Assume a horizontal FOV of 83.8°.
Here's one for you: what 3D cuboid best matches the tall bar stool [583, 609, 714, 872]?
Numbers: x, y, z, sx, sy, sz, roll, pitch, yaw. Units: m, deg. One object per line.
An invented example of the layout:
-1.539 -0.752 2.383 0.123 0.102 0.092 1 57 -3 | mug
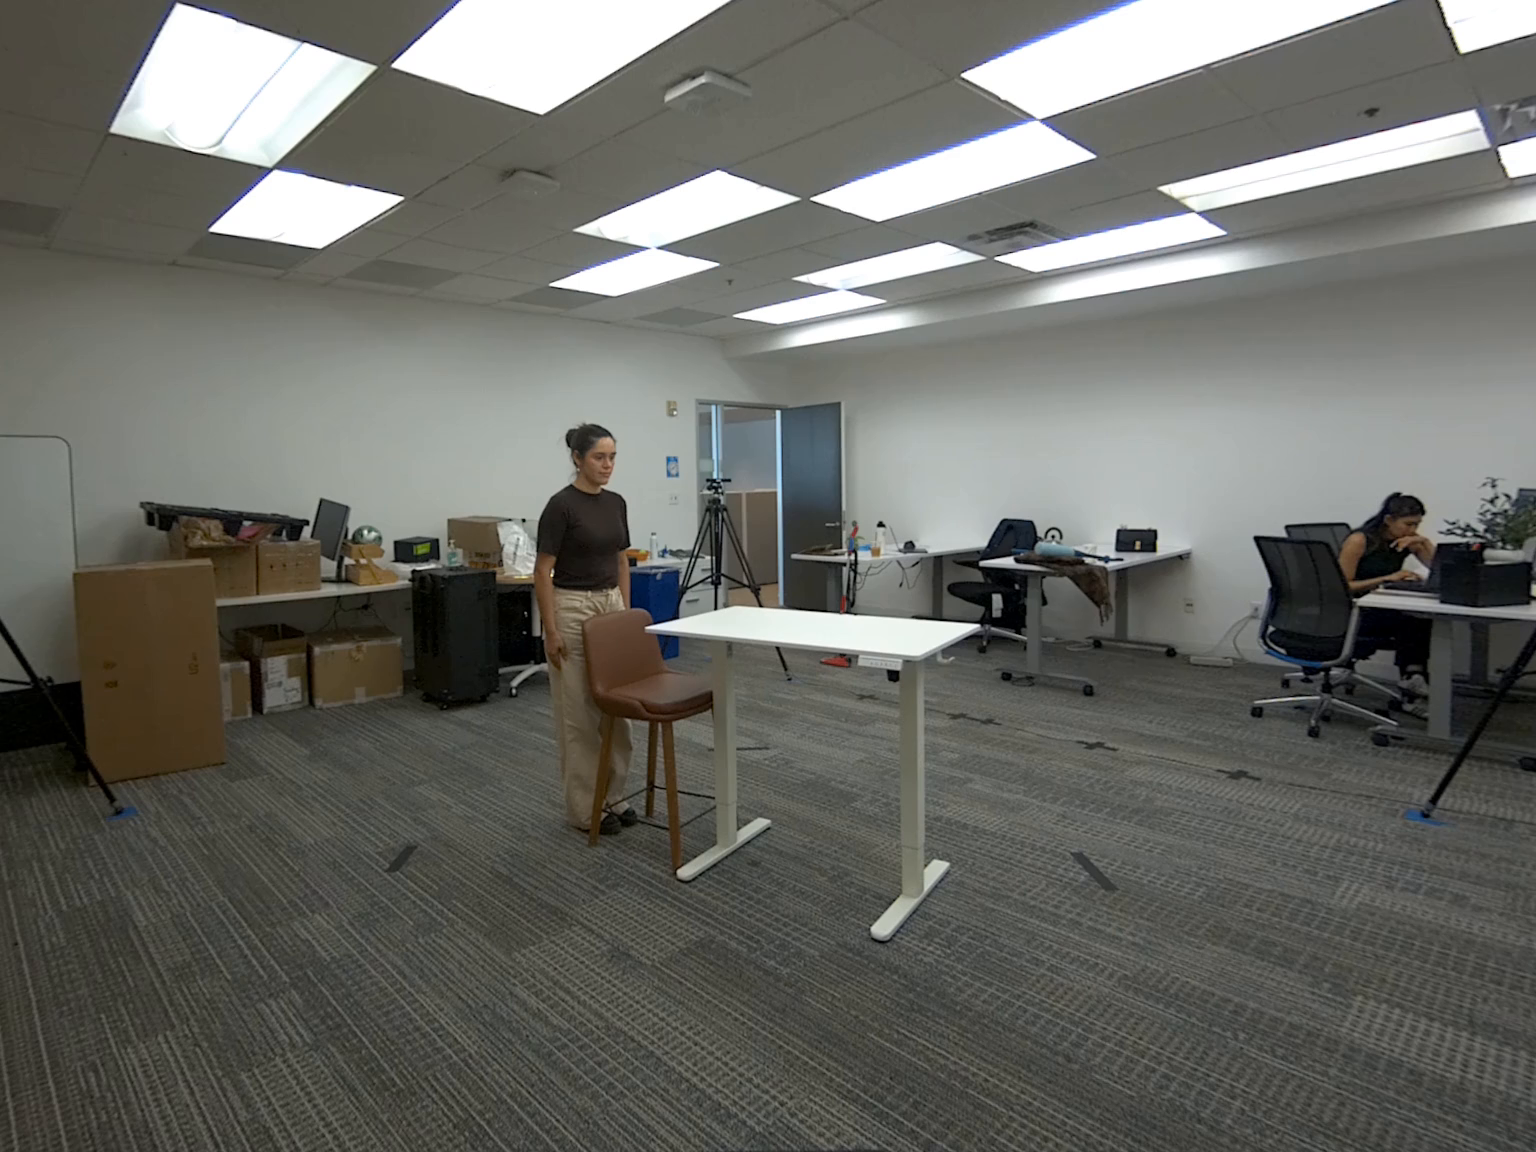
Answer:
-0.421 0.590 3.282 0.480 0.888 0.445 -1 2 34 | tall bar stool
